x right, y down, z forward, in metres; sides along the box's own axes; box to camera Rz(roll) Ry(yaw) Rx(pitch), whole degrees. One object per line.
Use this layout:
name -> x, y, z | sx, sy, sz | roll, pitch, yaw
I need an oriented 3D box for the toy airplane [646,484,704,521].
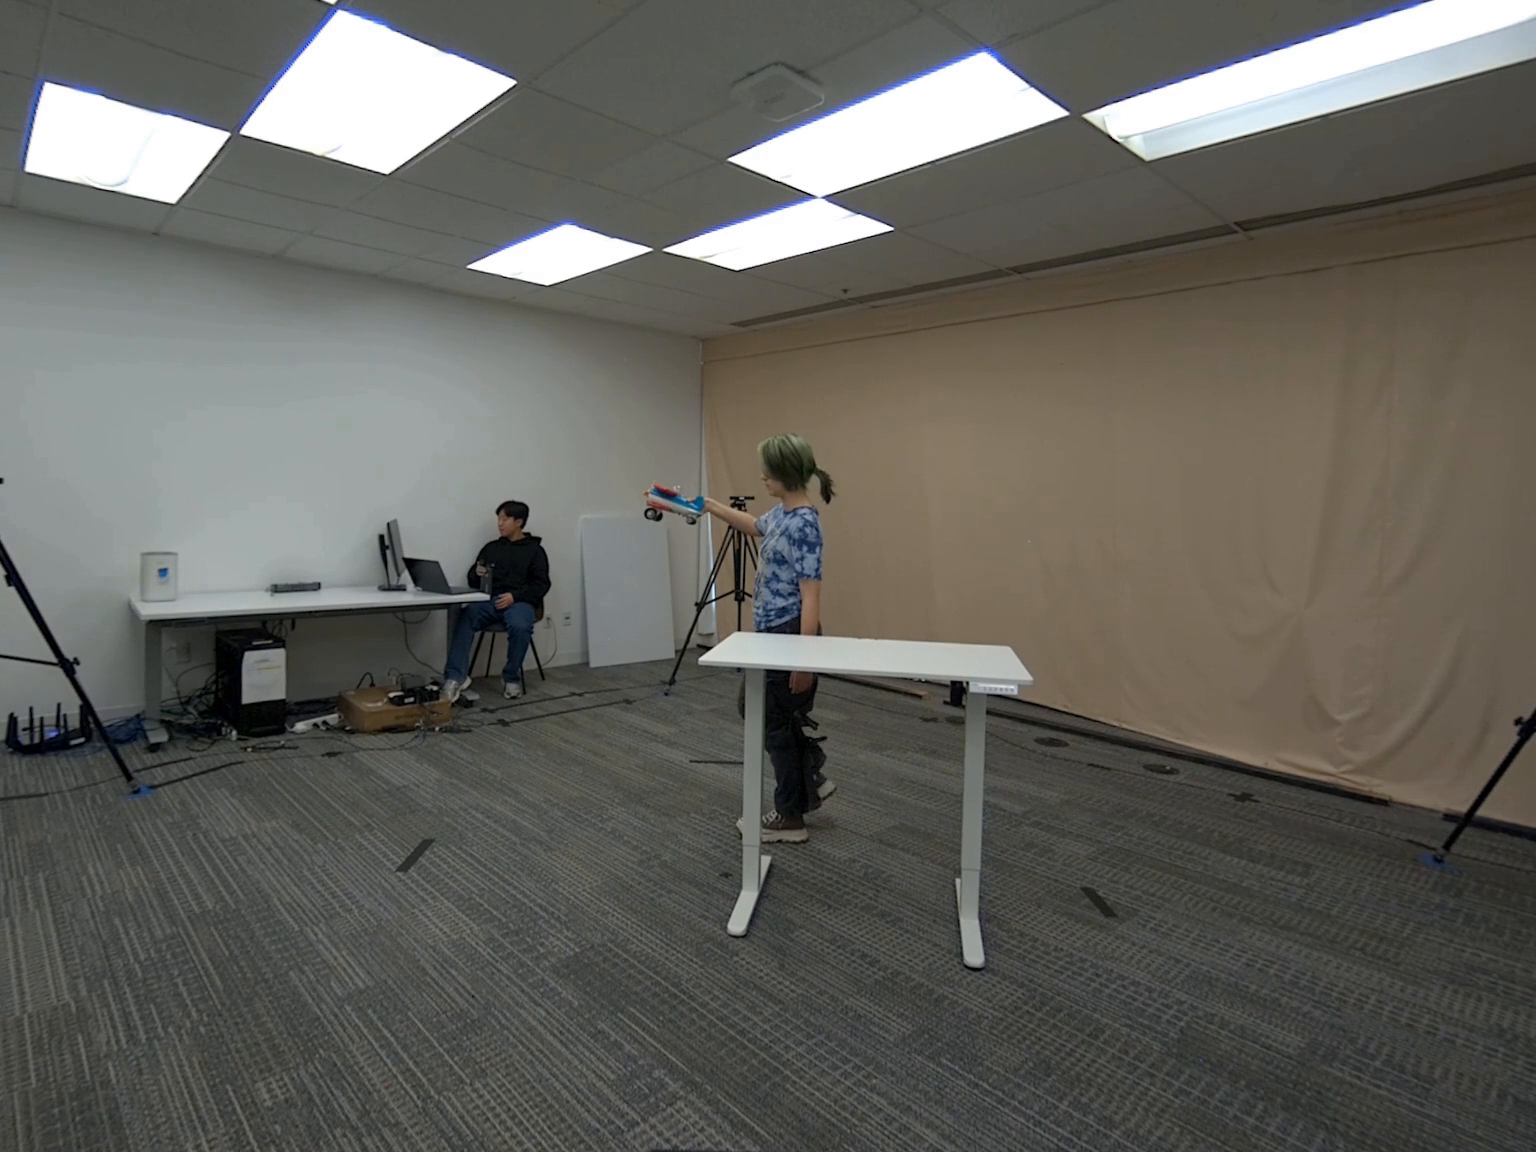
toy airplane -> -0.420, -0.308, 3.699 | 0.255, 0.156, 0.254 | 8, 0, -17
